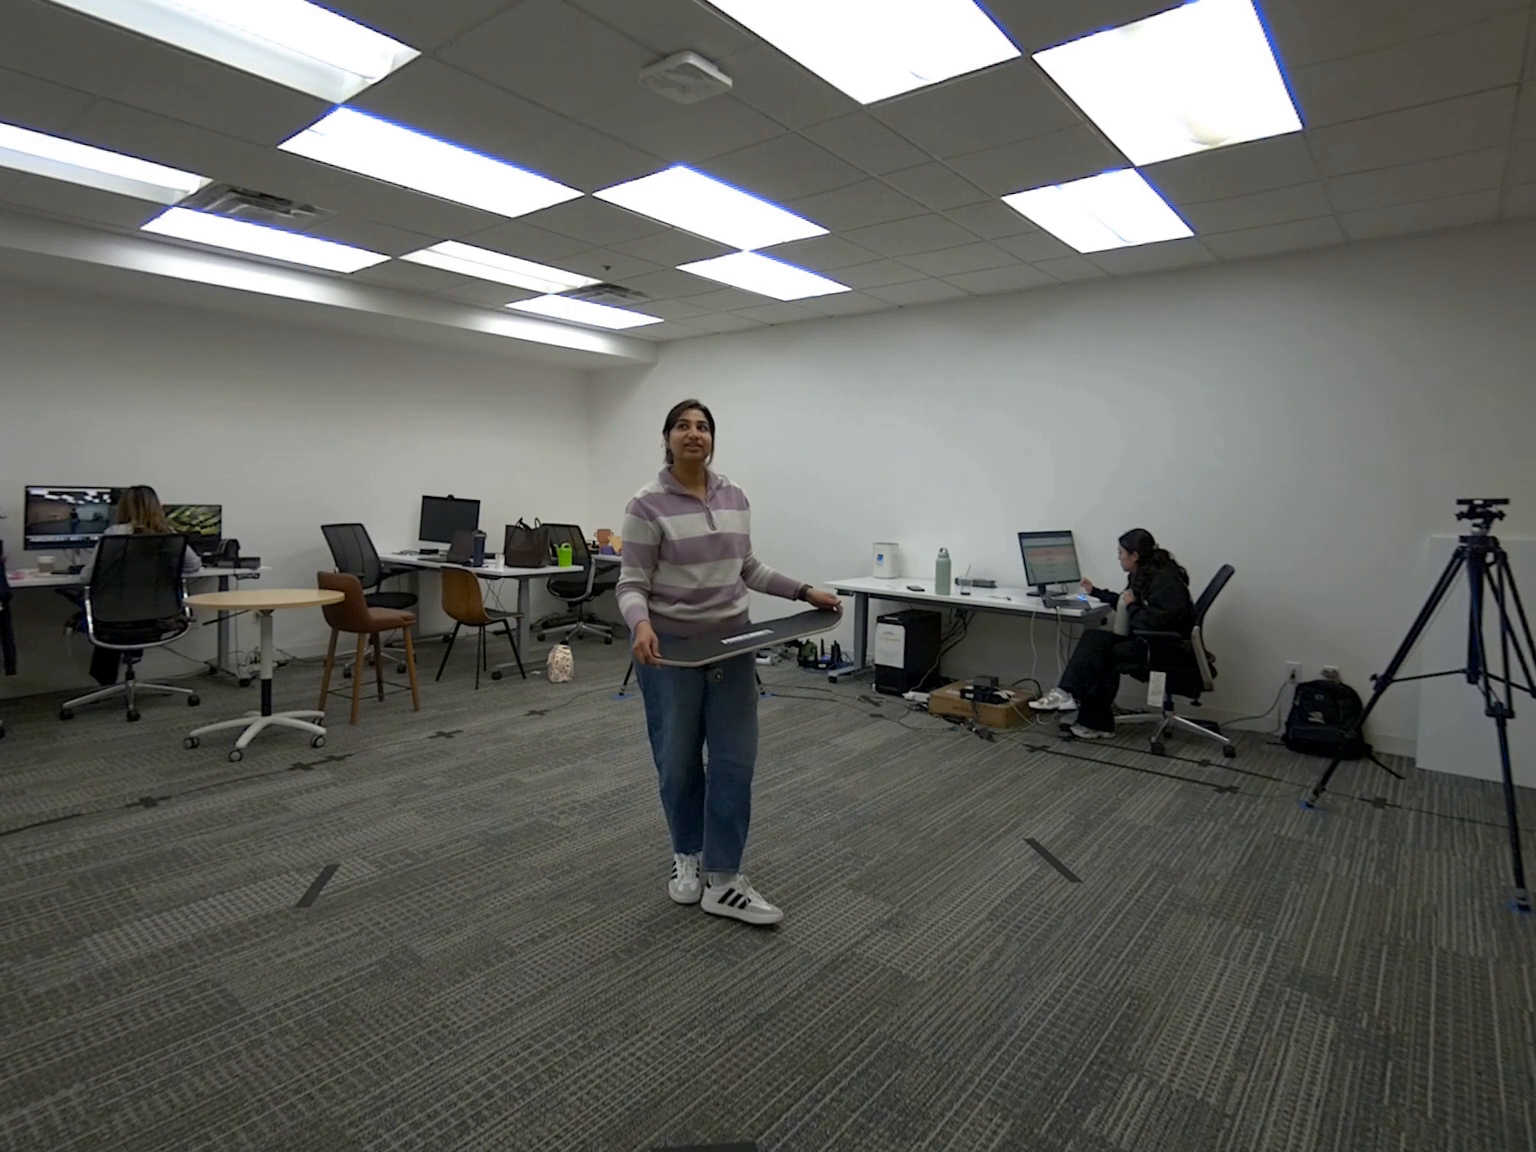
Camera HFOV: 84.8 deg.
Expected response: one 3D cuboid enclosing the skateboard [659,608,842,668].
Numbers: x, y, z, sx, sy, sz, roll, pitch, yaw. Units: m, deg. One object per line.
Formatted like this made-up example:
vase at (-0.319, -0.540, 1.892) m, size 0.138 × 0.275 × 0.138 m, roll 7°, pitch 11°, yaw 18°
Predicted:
skateboard at (-0.055, 0.221, 2.694) m, size 0.765 × 0.109 × 0.201 m, roll -10°, pitch 17°, yaw -38°
